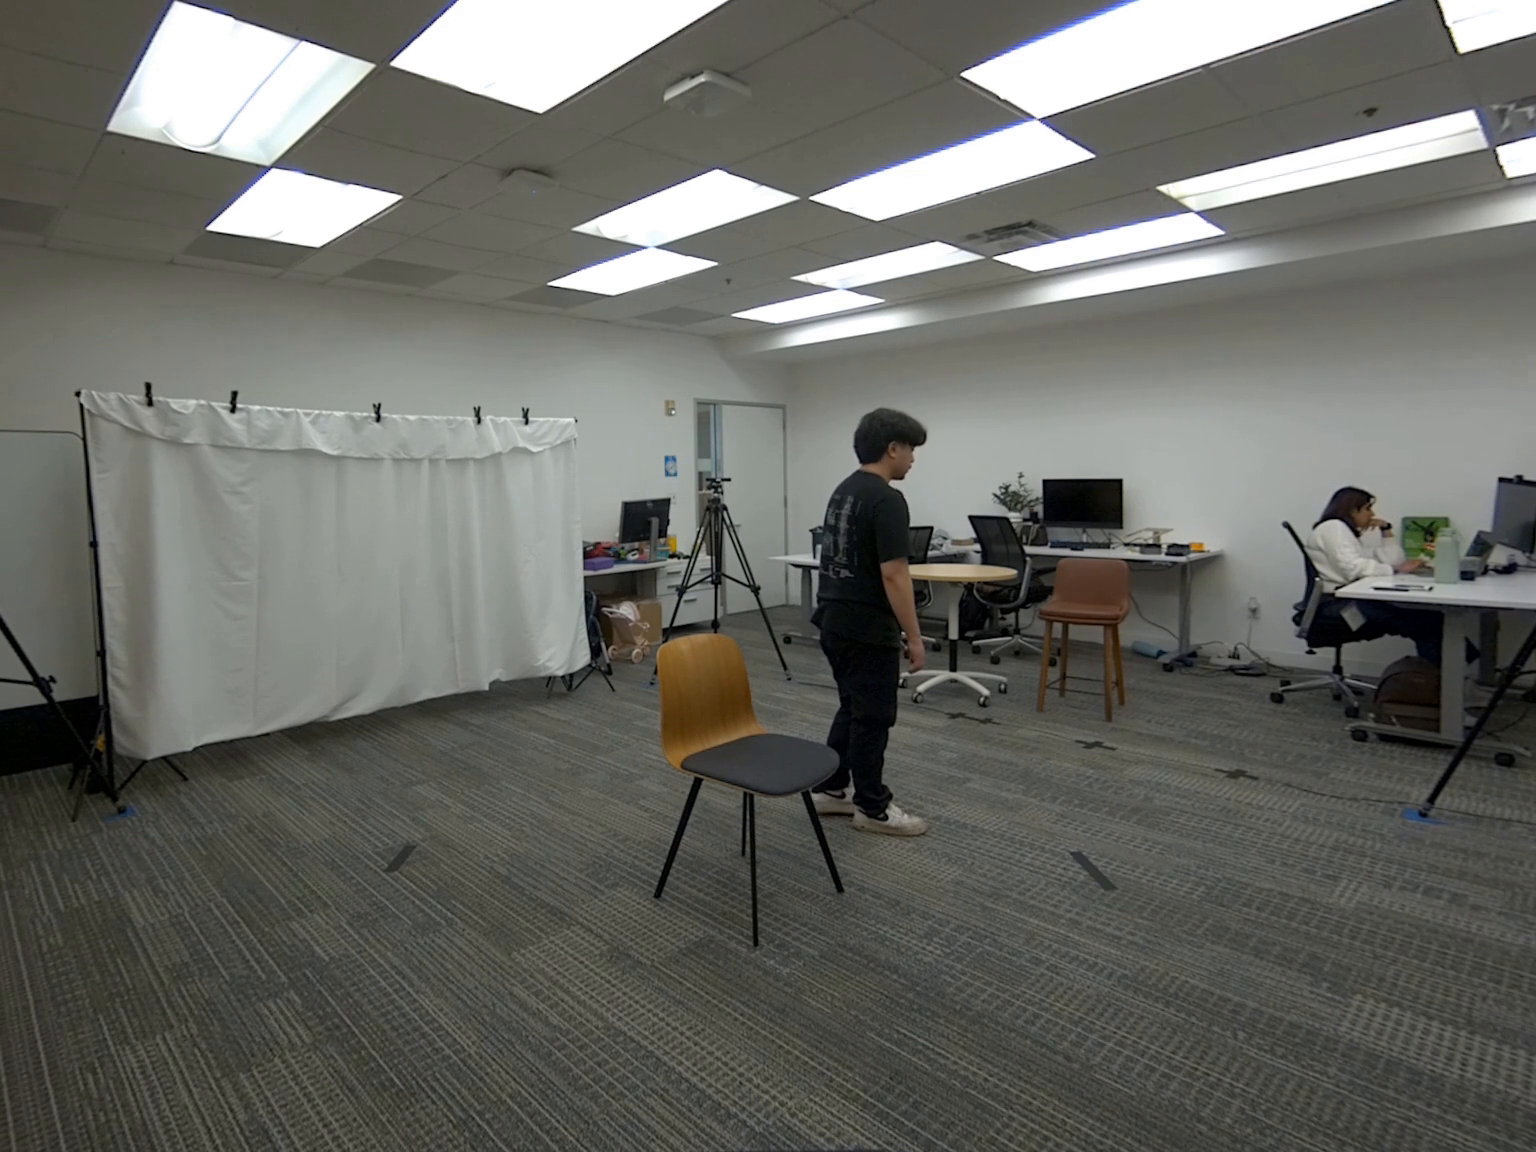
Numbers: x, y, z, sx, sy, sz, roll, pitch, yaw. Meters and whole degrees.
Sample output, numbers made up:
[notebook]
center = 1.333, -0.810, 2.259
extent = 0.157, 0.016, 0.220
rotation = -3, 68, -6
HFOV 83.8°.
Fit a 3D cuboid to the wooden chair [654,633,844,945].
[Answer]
[wooden chair]
center = -0.064, 0.646, 2.827
extent = 0.538, 0.877, 0.465
rotation = -3, 2, 42
